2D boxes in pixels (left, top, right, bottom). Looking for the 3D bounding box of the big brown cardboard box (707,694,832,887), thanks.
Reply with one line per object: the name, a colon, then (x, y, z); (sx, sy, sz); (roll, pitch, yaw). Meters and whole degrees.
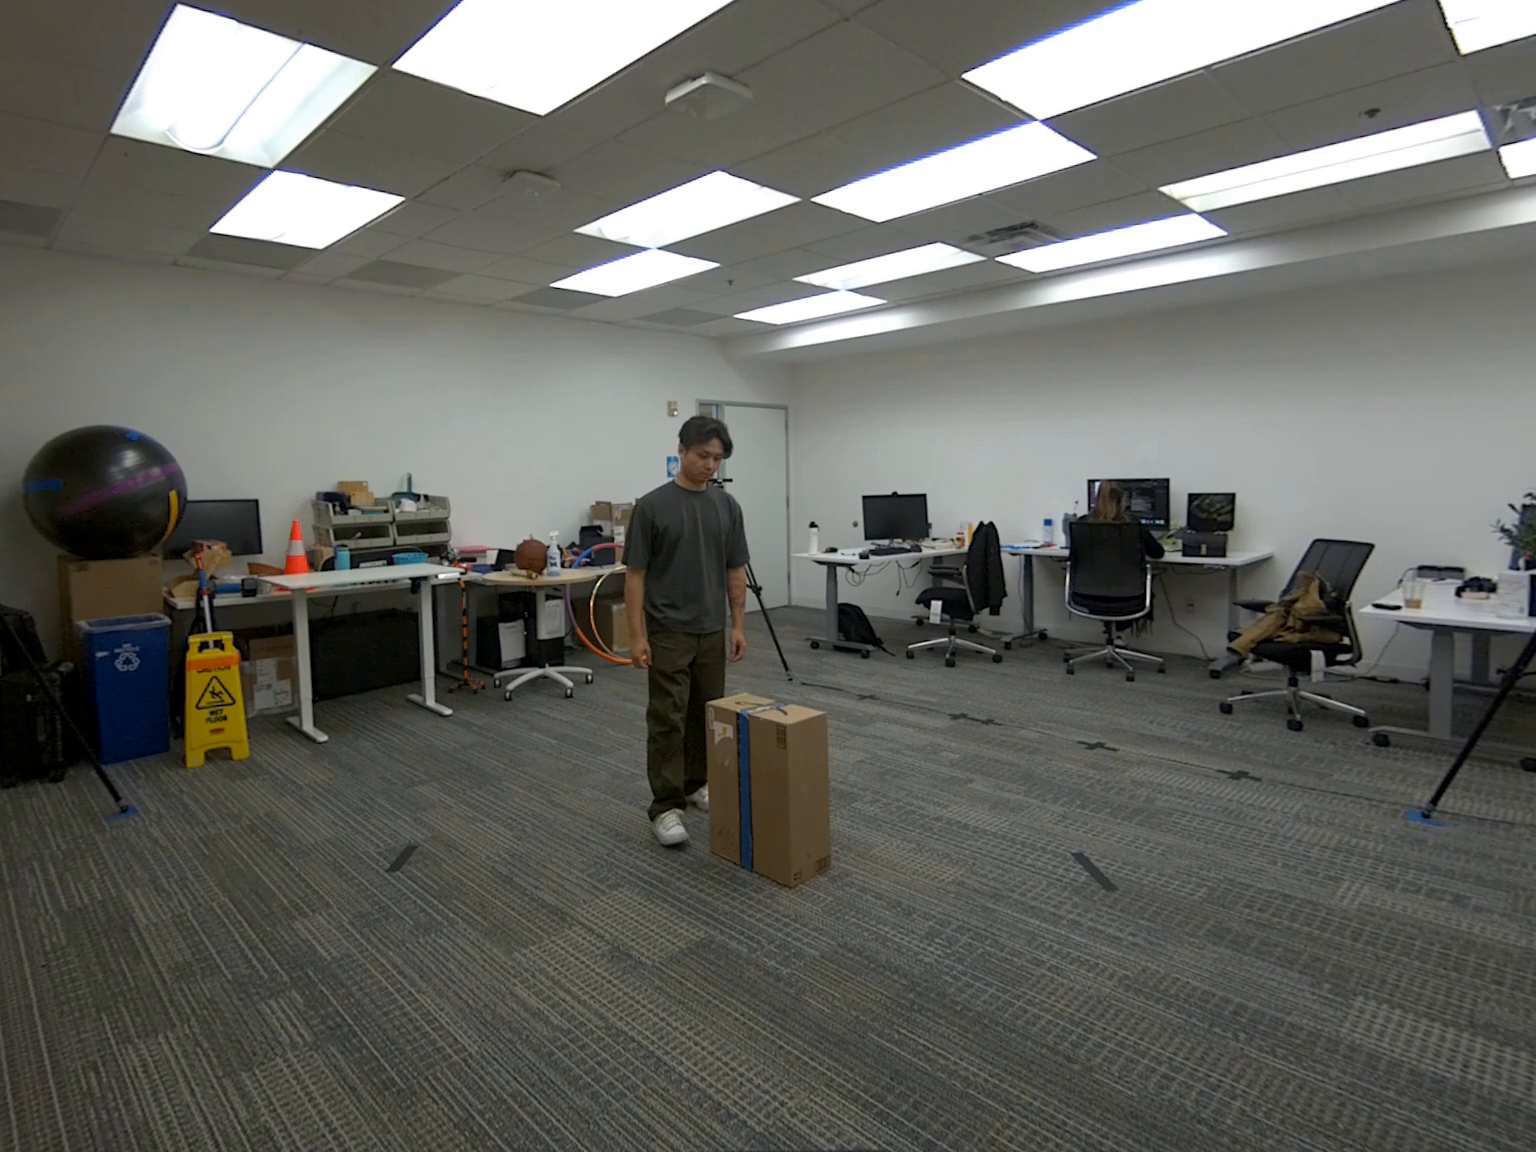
big brown cardboard box: (-0.003, 0.755, 3.113); (0.227, 0.587, 0.430); (-5, 5, -44)
